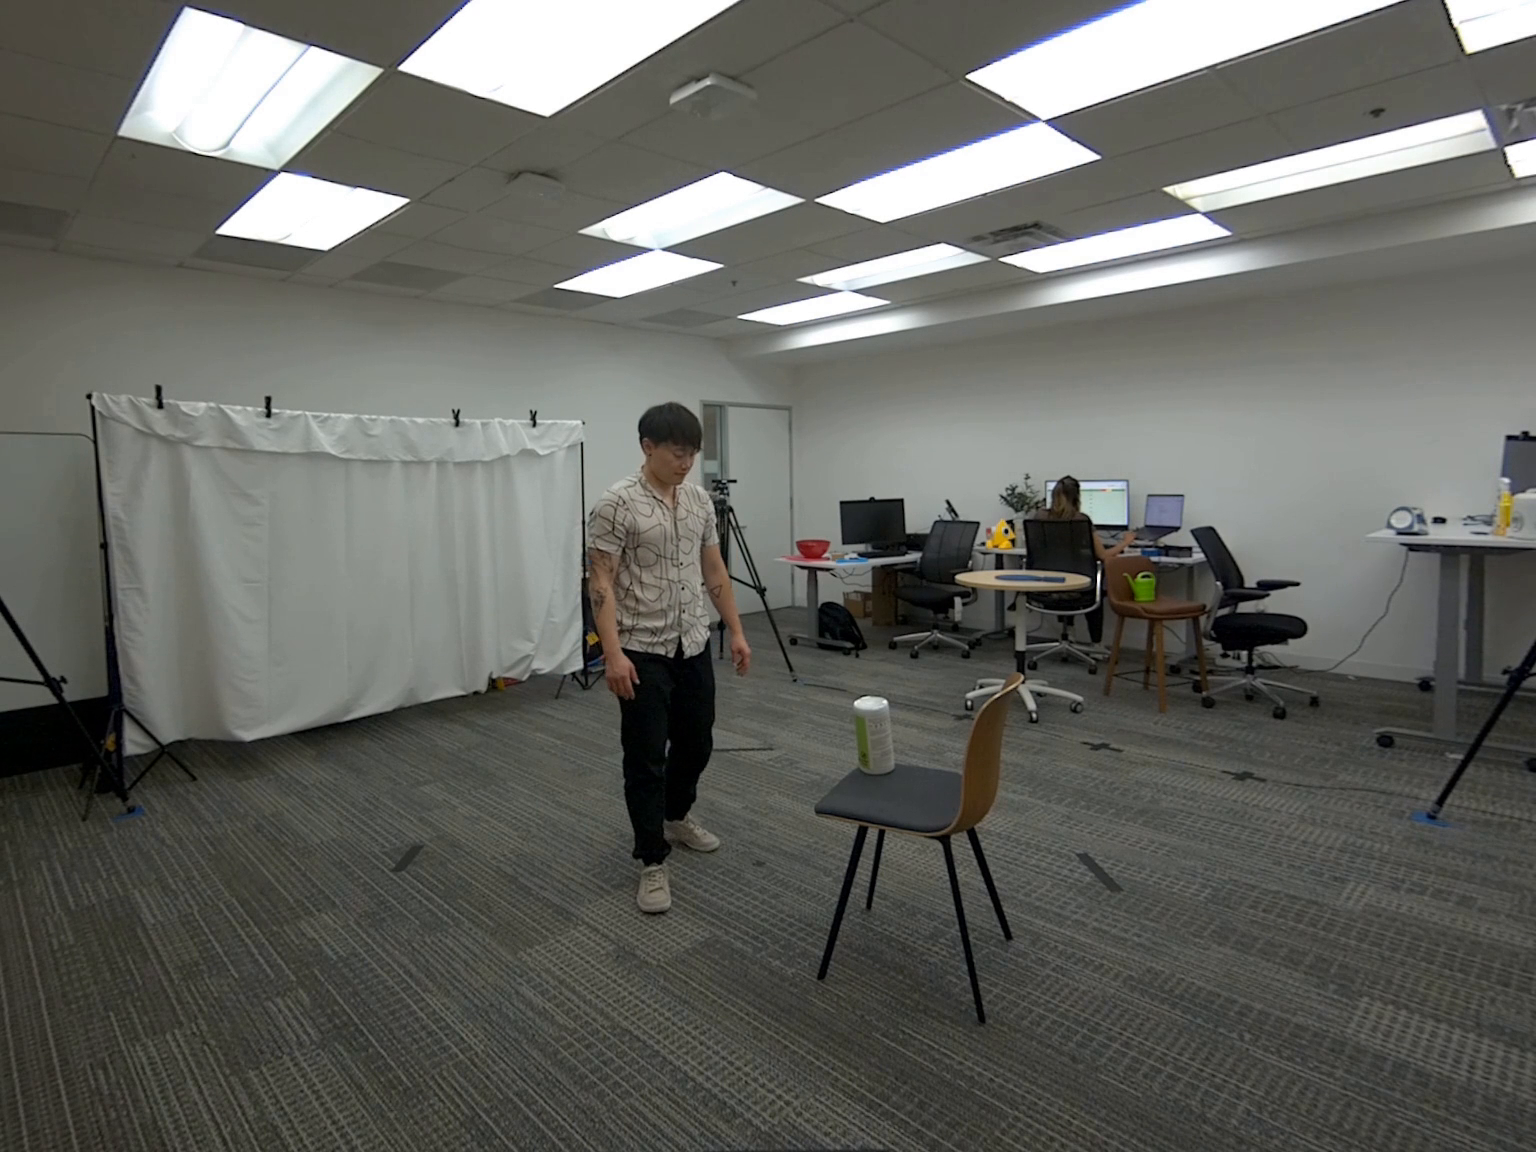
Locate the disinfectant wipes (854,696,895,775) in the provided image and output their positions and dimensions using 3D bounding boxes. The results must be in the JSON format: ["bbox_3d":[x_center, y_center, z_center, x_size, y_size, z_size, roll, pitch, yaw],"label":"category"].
[{"bbox_3d":[0.331,0.495,2.645,0.118,0.216,0.119,-7,8,-1],"label":"disinfectant wipes"}]
